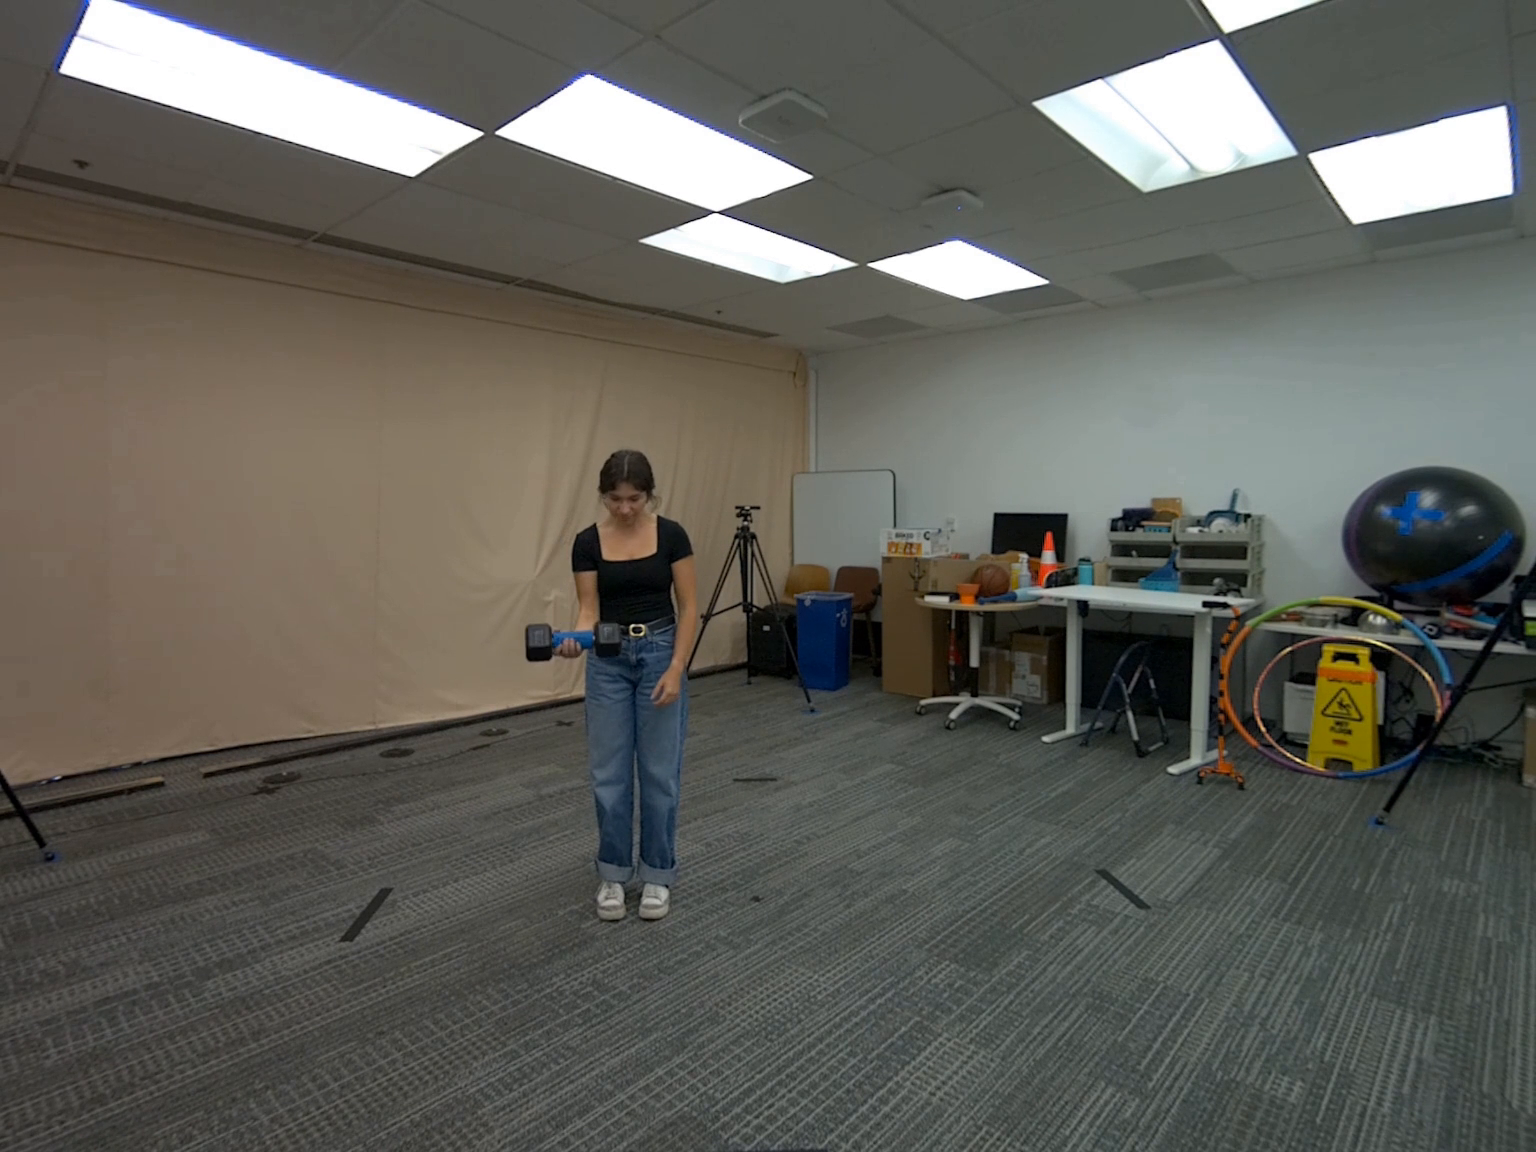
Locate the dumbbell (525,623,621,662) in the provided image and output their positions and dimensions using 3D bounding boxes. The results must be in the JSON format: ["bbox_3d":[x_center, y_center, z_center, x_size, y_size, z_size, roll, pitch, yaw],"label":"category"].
[{"bbox_3d":[-0.608,0.196,2.624,0.289,0.108,0.125,-2,5,-16],"label":"dumbbell"}]
